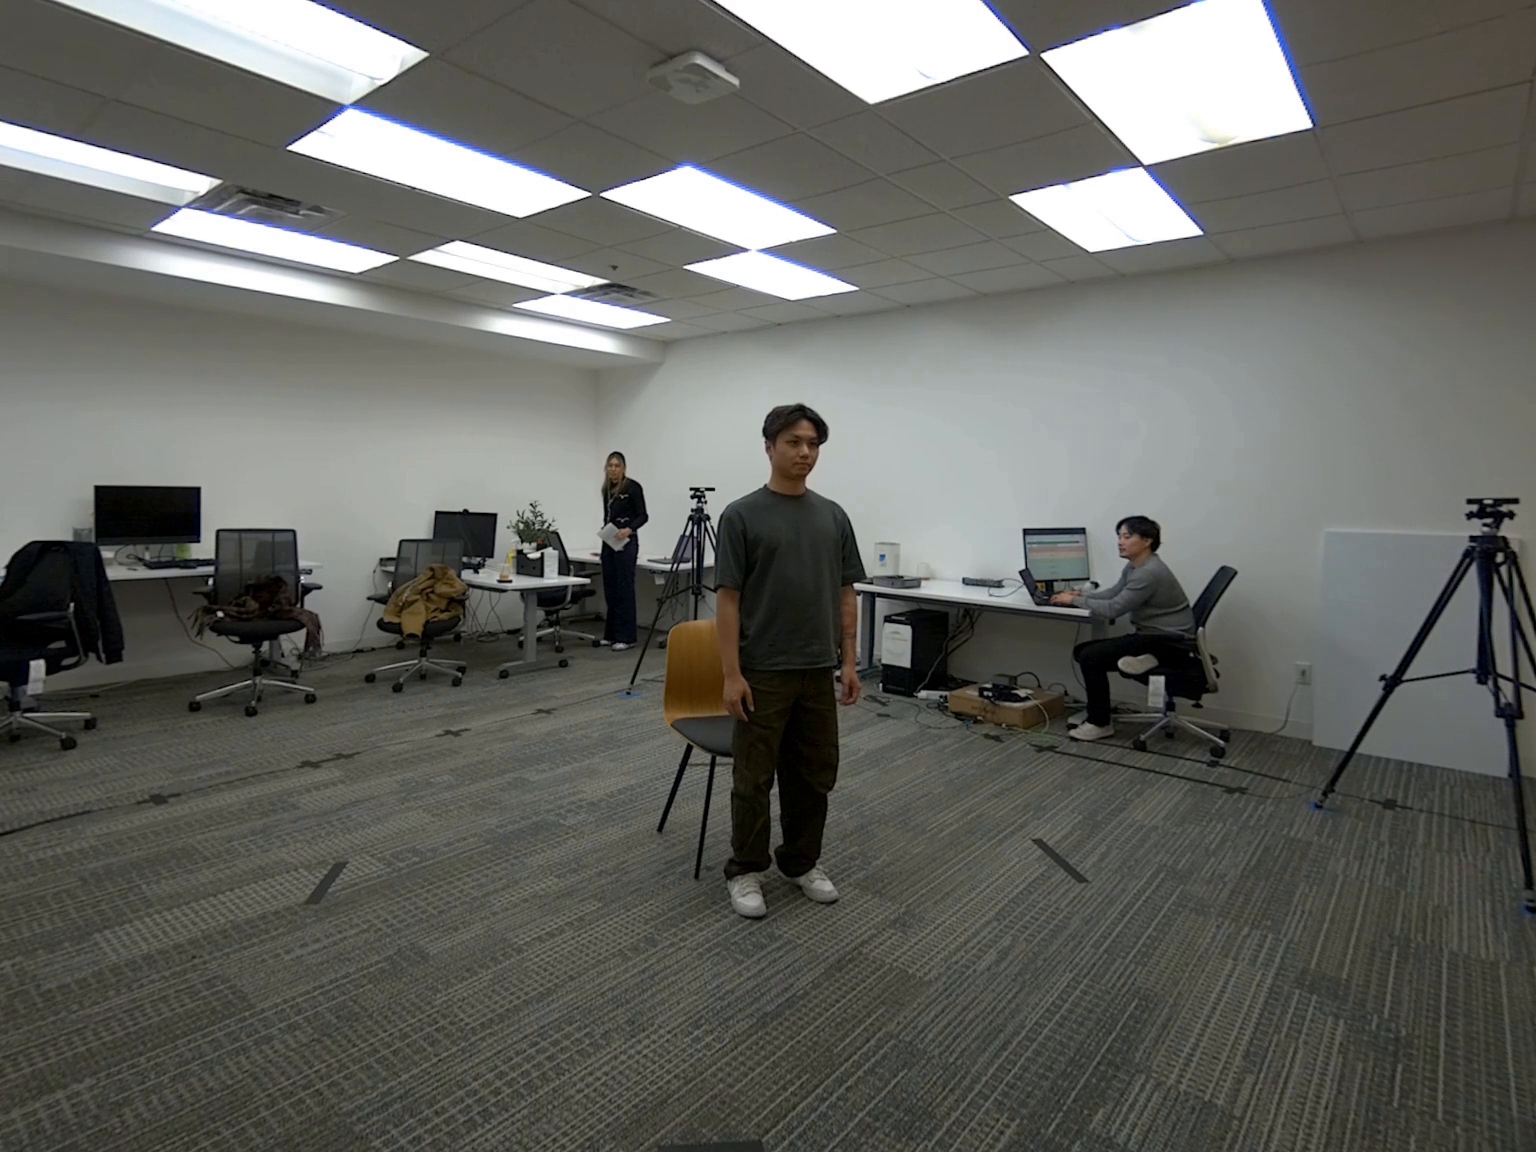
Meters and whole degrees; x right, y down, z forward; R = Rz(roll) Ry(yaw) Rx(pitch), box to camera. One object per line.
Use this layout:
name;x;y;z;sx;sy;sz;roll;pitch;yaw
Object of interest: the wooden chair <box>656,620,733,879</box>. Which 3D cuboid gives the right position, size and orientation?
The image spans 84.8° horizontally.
wooden chair;-0.150;0.624;3.279;0.467;0.878;0.535;0;0;-24
